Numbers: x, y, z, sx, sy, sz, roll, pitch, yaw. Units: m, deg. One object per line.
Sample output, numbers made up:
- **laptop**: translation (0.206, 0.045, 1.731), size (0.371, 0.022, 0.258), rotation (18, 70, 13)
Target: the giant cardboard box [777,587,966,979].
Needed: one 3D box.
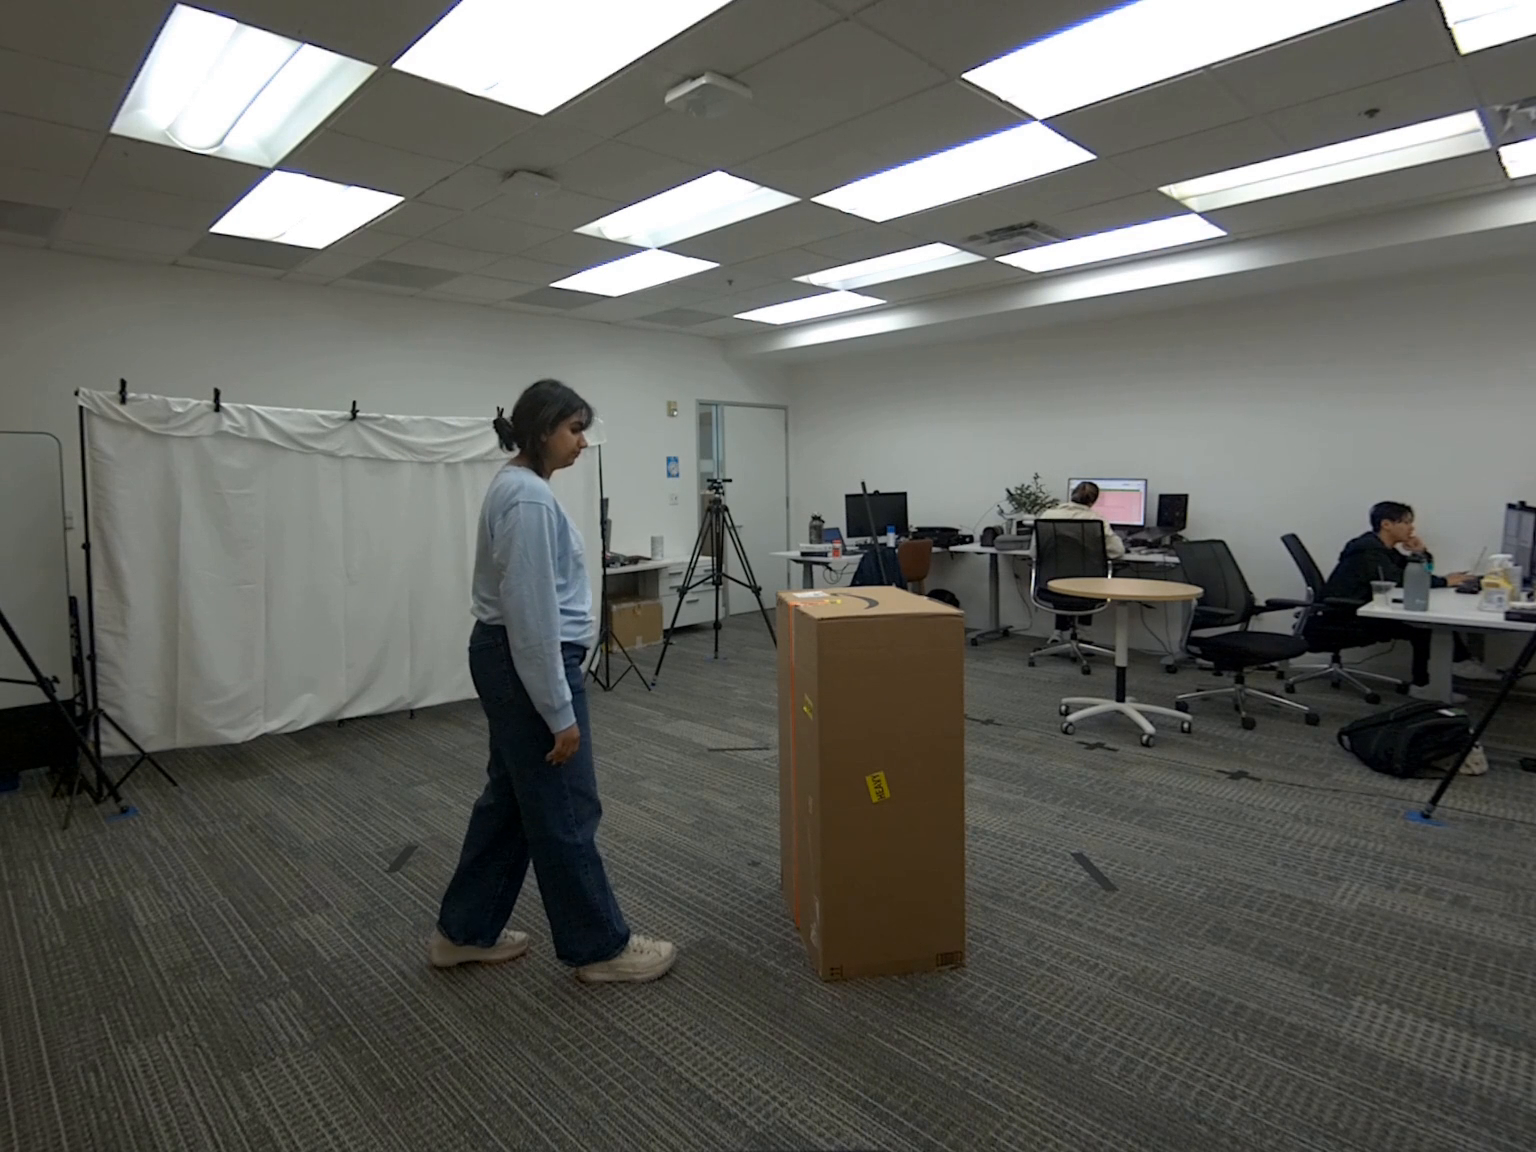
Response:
- **giant cardboard box**: translation (0.296, 0.583, 2.650), size (0.443, 1.023, 0.591), rotation (-2, 5, -9)
